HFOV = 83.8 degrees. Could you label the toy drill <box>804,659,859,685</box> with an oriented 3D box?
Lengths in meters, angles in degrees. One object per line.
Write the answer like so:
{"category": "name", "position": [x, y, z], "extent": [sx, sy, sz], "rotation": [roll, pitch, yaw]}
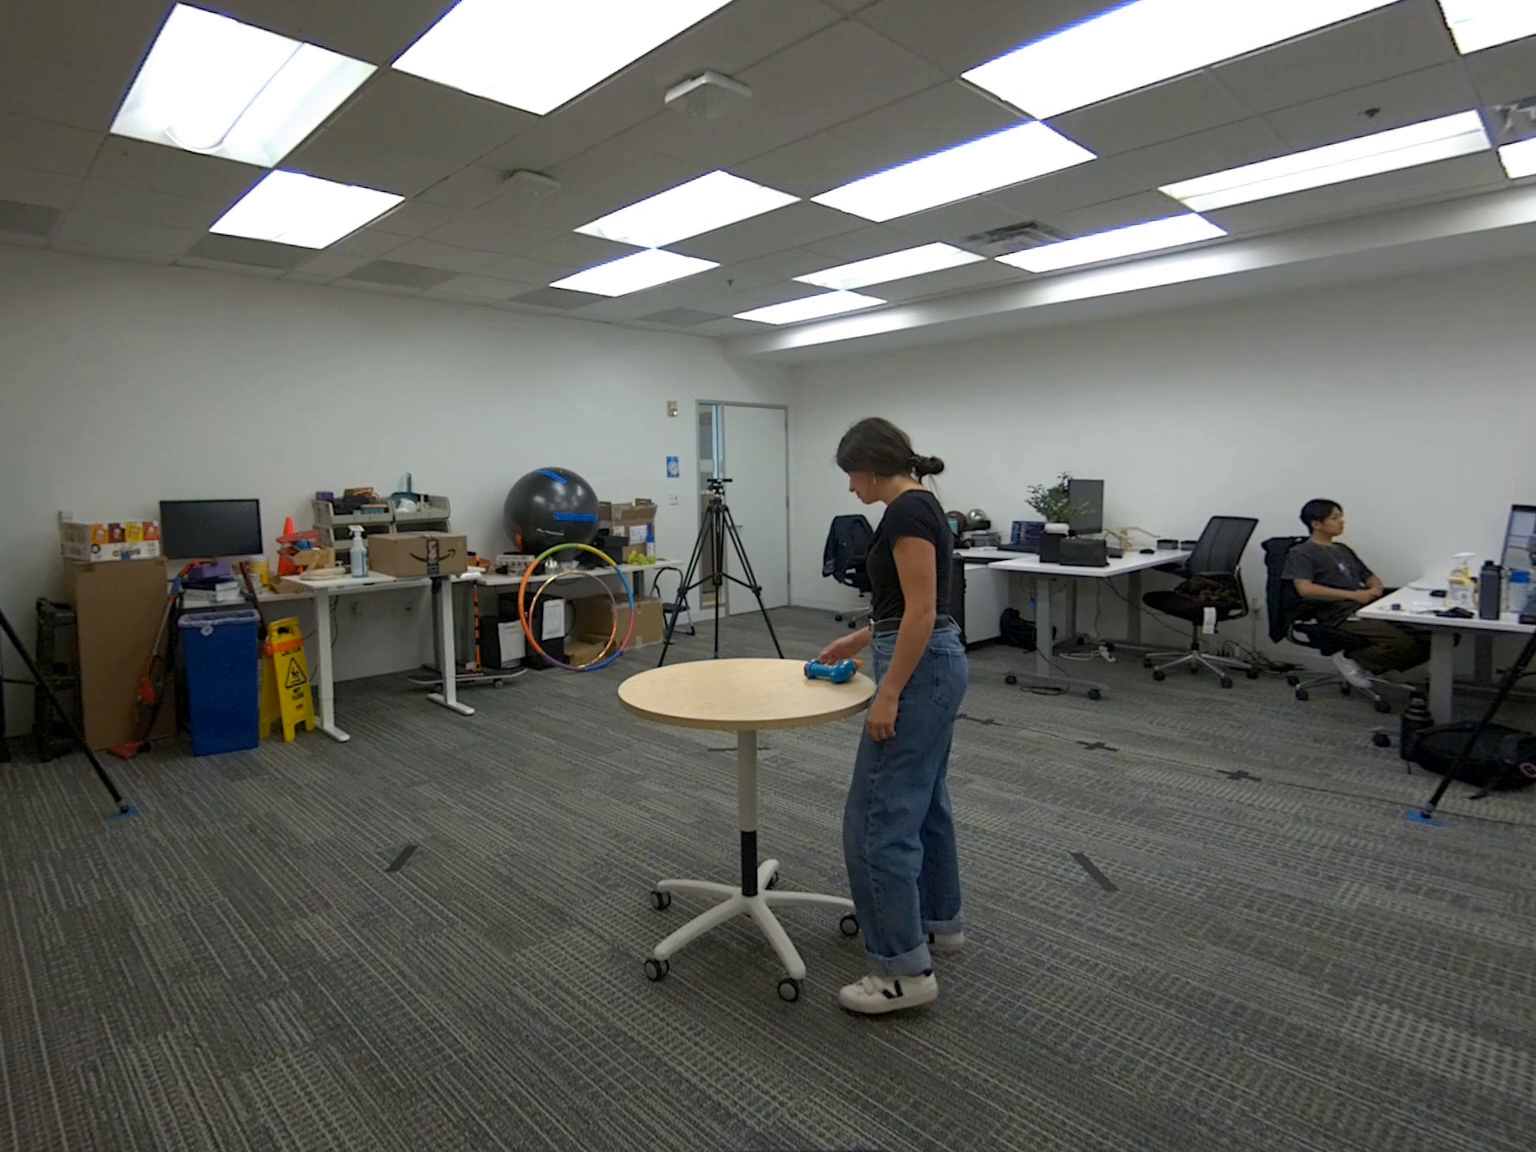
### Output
{"category": "toy drill", "position": [0.204, 0.284, 2.630], "extent": [0.150, 0.060, 0.167], "rotation": [5, 18, 41]}
